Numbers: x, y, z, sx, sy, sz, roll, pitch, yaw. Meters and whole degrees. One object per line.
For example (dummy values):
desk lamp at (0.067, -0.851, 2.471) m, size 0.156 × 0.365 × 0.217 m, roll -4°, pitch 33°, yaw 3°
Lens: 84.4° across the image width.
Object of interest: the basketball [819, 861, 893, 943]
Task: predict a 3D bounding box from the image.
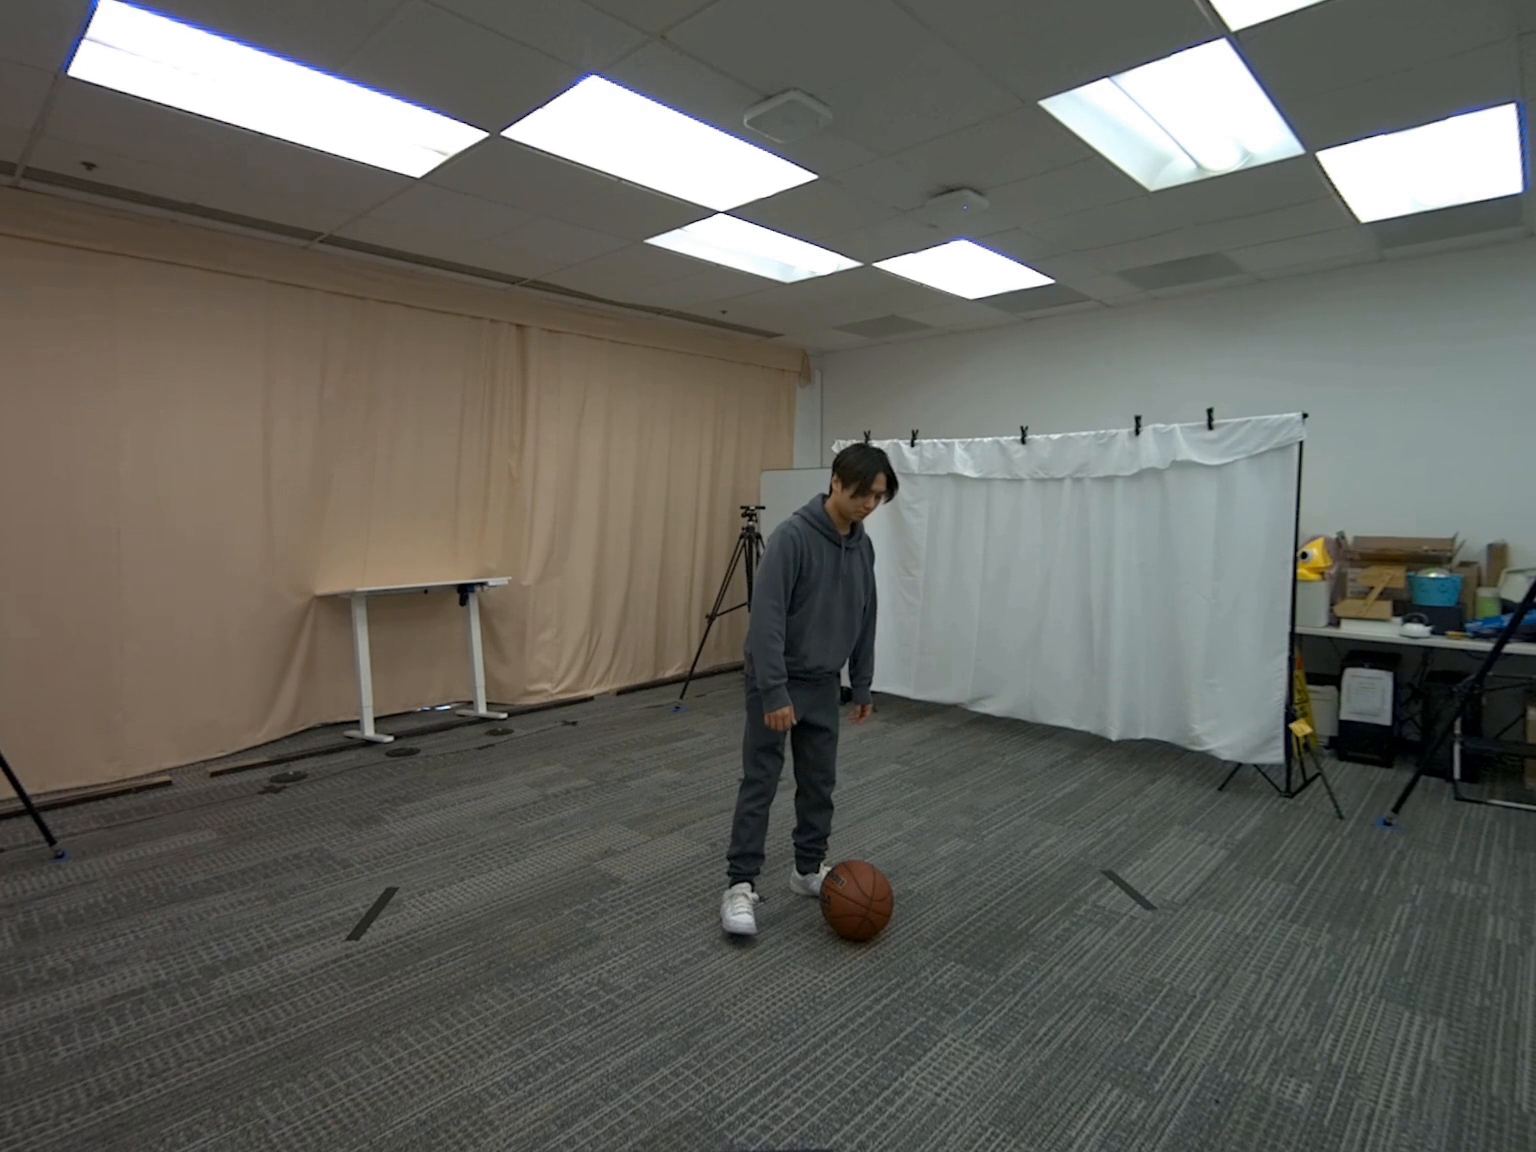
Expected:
basketball at (0.290, 1.042, 2.730) m, size 0.236 × 0.235 × 0.237 m, roll 0°, pitch 4°, yaw -2°
